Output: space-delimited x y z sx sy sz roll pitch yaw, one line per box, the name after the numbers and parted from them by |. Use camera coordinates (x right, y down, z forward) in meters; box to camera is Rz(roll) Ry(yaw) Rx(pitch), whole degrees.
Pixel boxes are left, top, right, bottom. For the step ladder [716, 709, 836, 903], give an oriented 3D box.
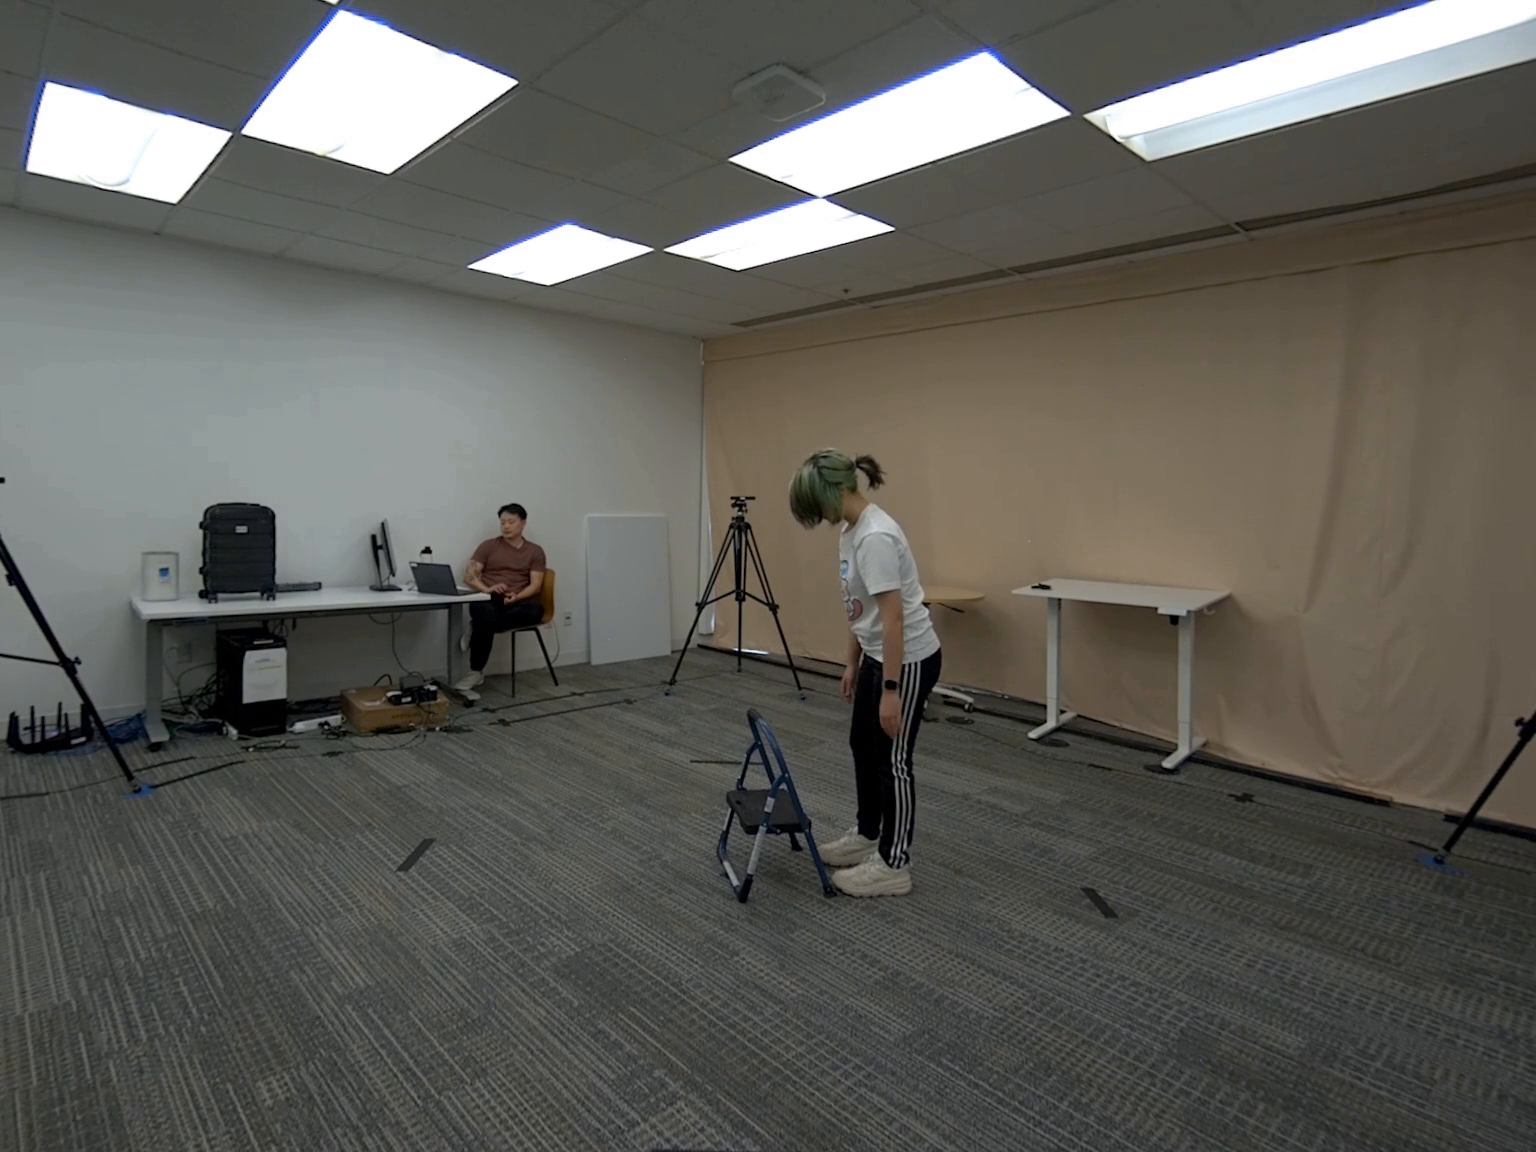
0.017 0.809 3.103 0.345 0.605 0.436 0 3 -14 | step ladder
